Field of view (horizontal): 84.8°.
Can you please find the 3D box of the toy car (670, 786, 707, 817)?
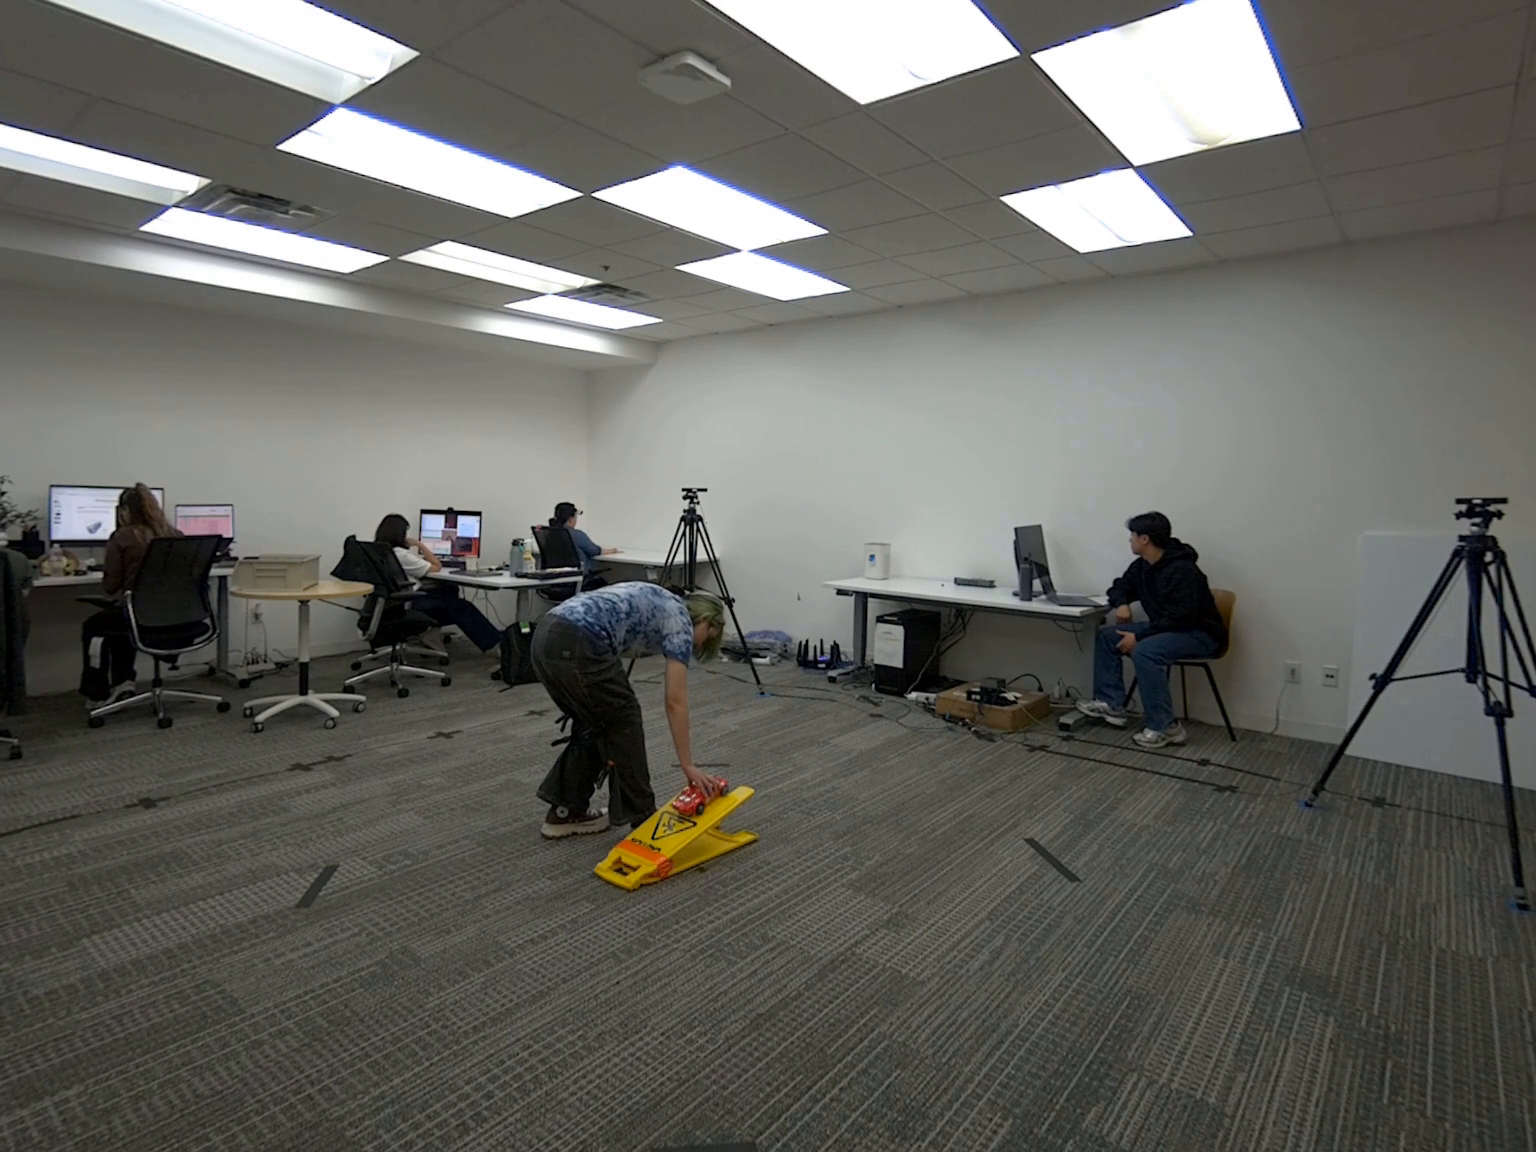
[{"bbox_3d":[-0.278,0.856,3.303,0.135,0.082,0.247,7,11,43],"label":"toy car"}]
